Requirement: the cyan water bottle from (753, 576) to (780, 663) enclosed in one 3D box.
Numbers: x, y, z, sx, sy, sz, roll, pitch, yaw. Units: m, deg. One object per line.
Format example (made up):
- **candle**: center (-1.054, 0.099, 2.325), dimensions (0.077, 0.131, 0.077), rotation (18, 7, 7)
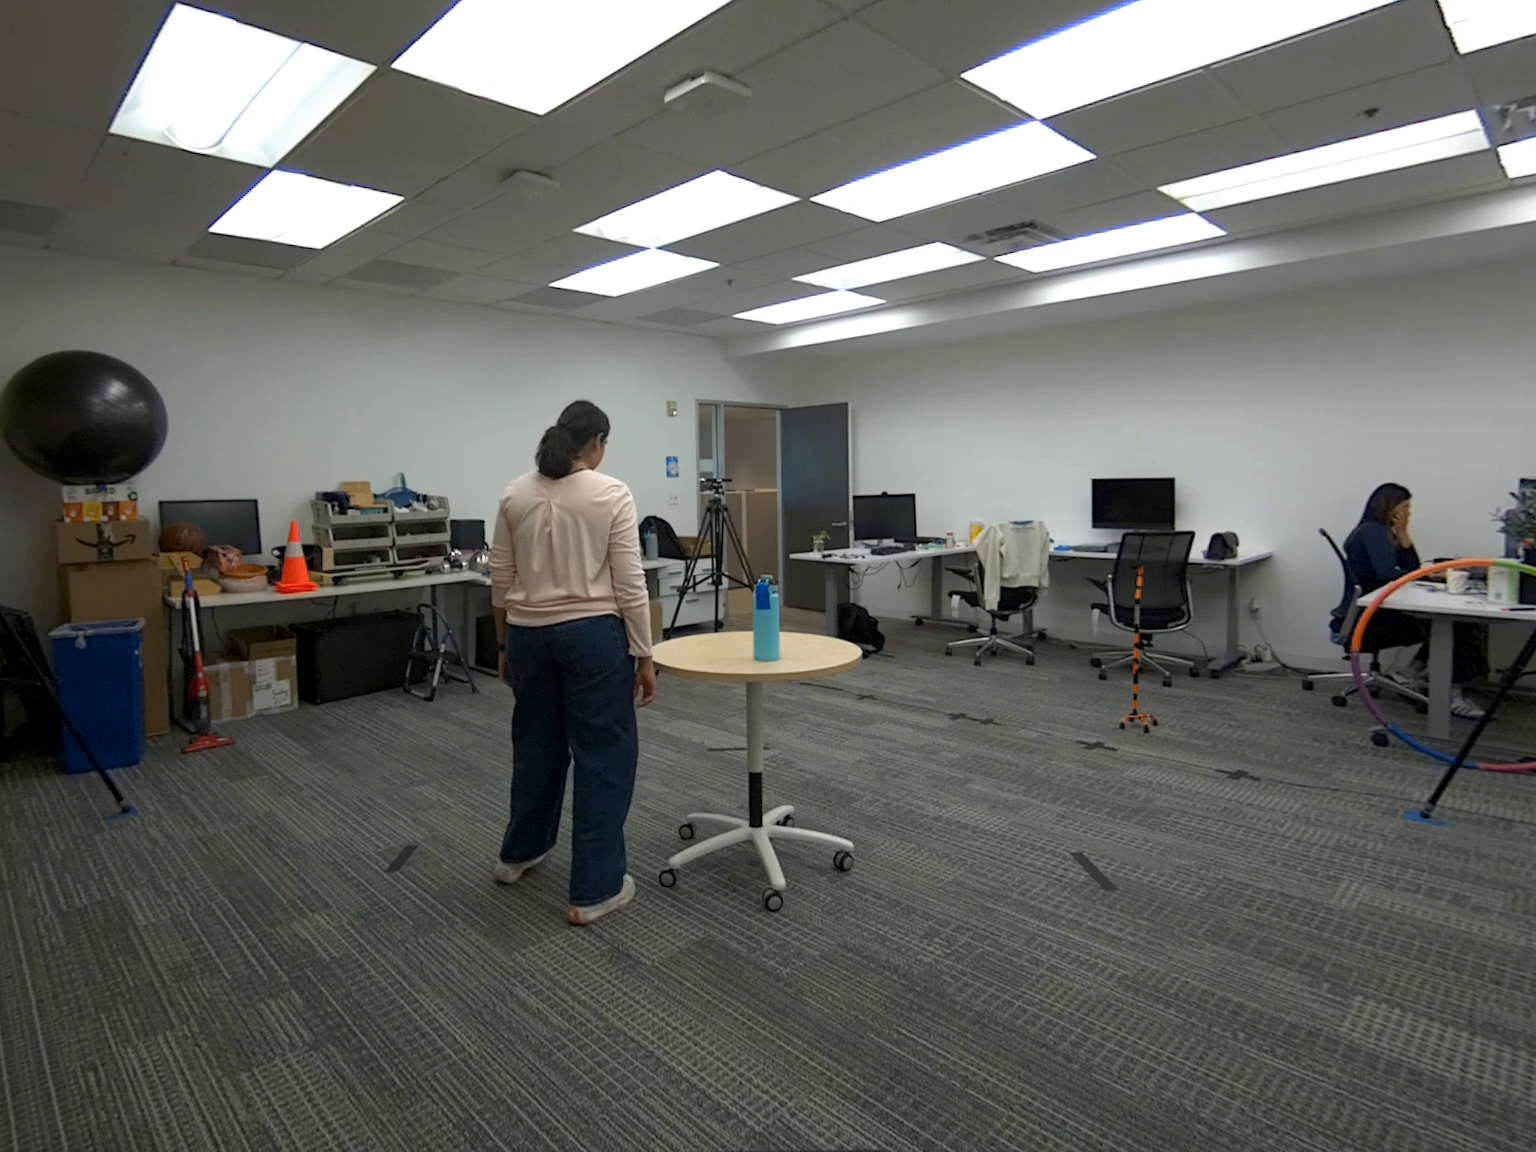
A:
- **cyan water bottle**: center (-0.005, 0.147, 2.882), dimensions (0.092, 0.282, 0.093), rotation (-1, 6, -2)
